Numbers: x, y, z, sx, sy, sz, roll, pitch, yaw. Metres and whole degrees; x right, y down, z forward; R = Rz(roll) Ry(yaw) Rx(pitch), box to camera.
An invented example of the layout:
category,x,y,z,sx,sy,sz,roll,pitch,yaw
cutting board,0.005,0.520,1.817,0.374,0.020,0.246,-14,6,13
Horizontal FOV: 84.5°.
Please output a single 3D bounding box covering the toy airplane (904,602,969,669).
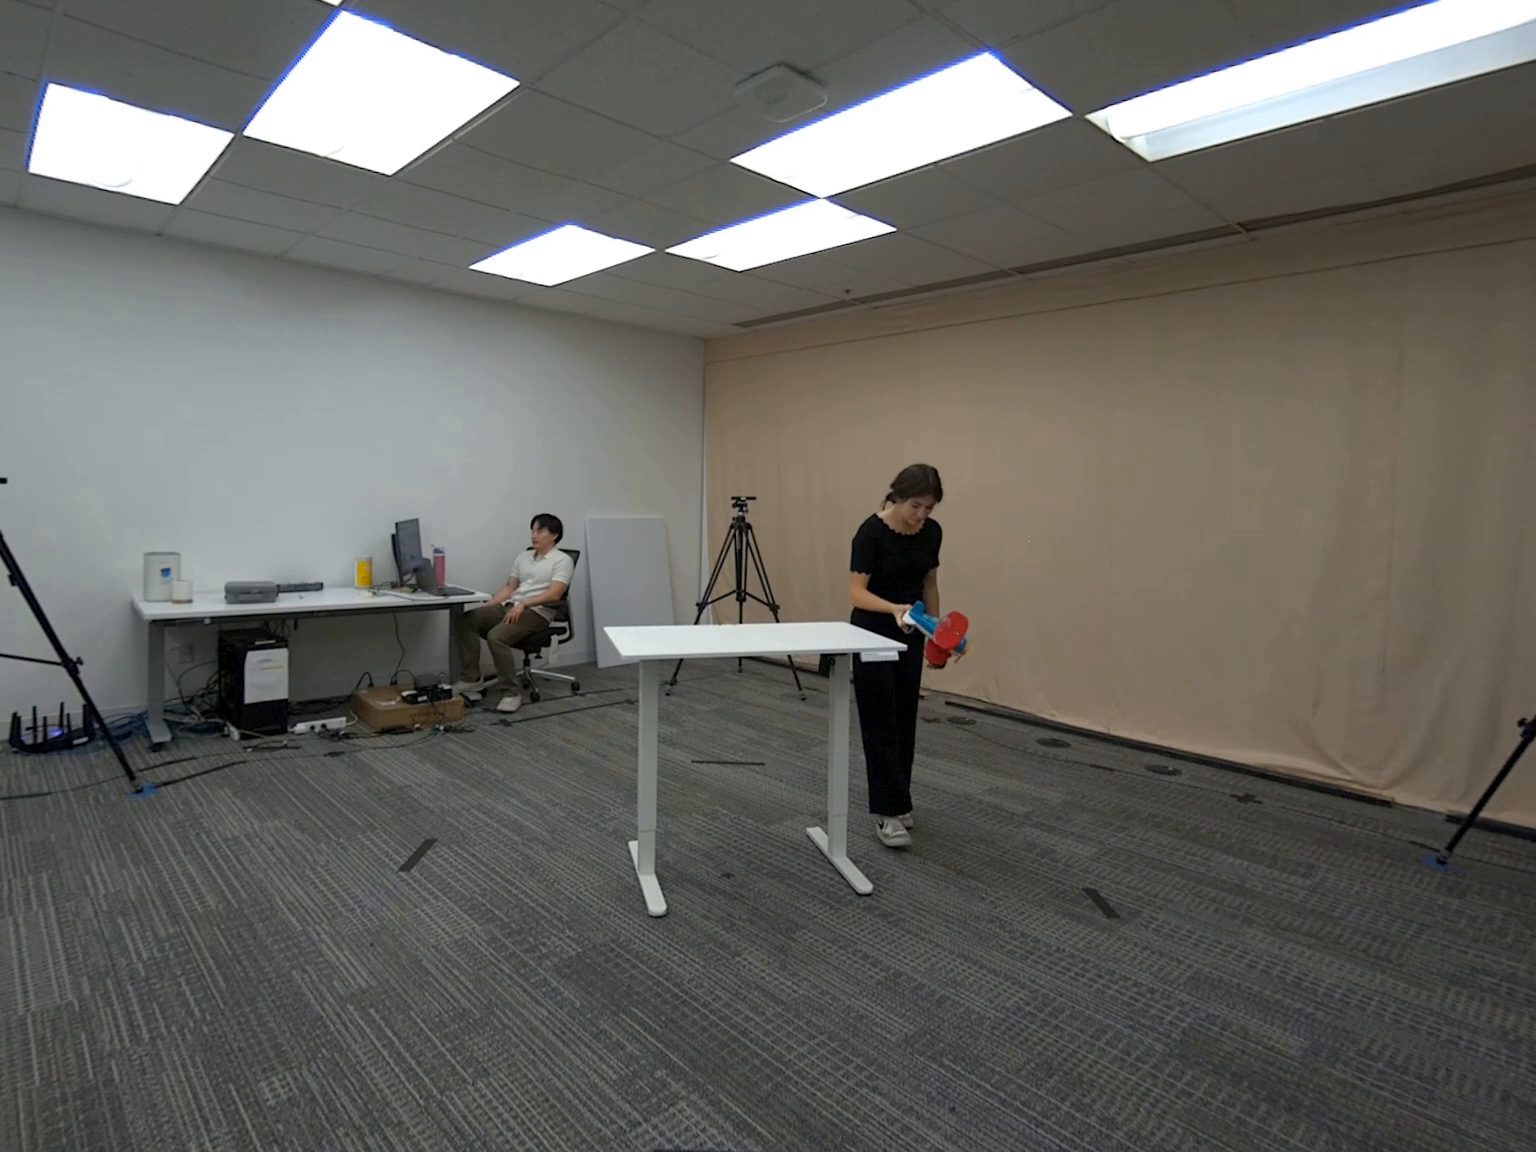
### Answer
category,x,y,z,sx,sy,sz,roll,pitch,yaw
toy airplane,0.614,0.224,3.168,0.255,0.255,0.156,27,-49,-17
